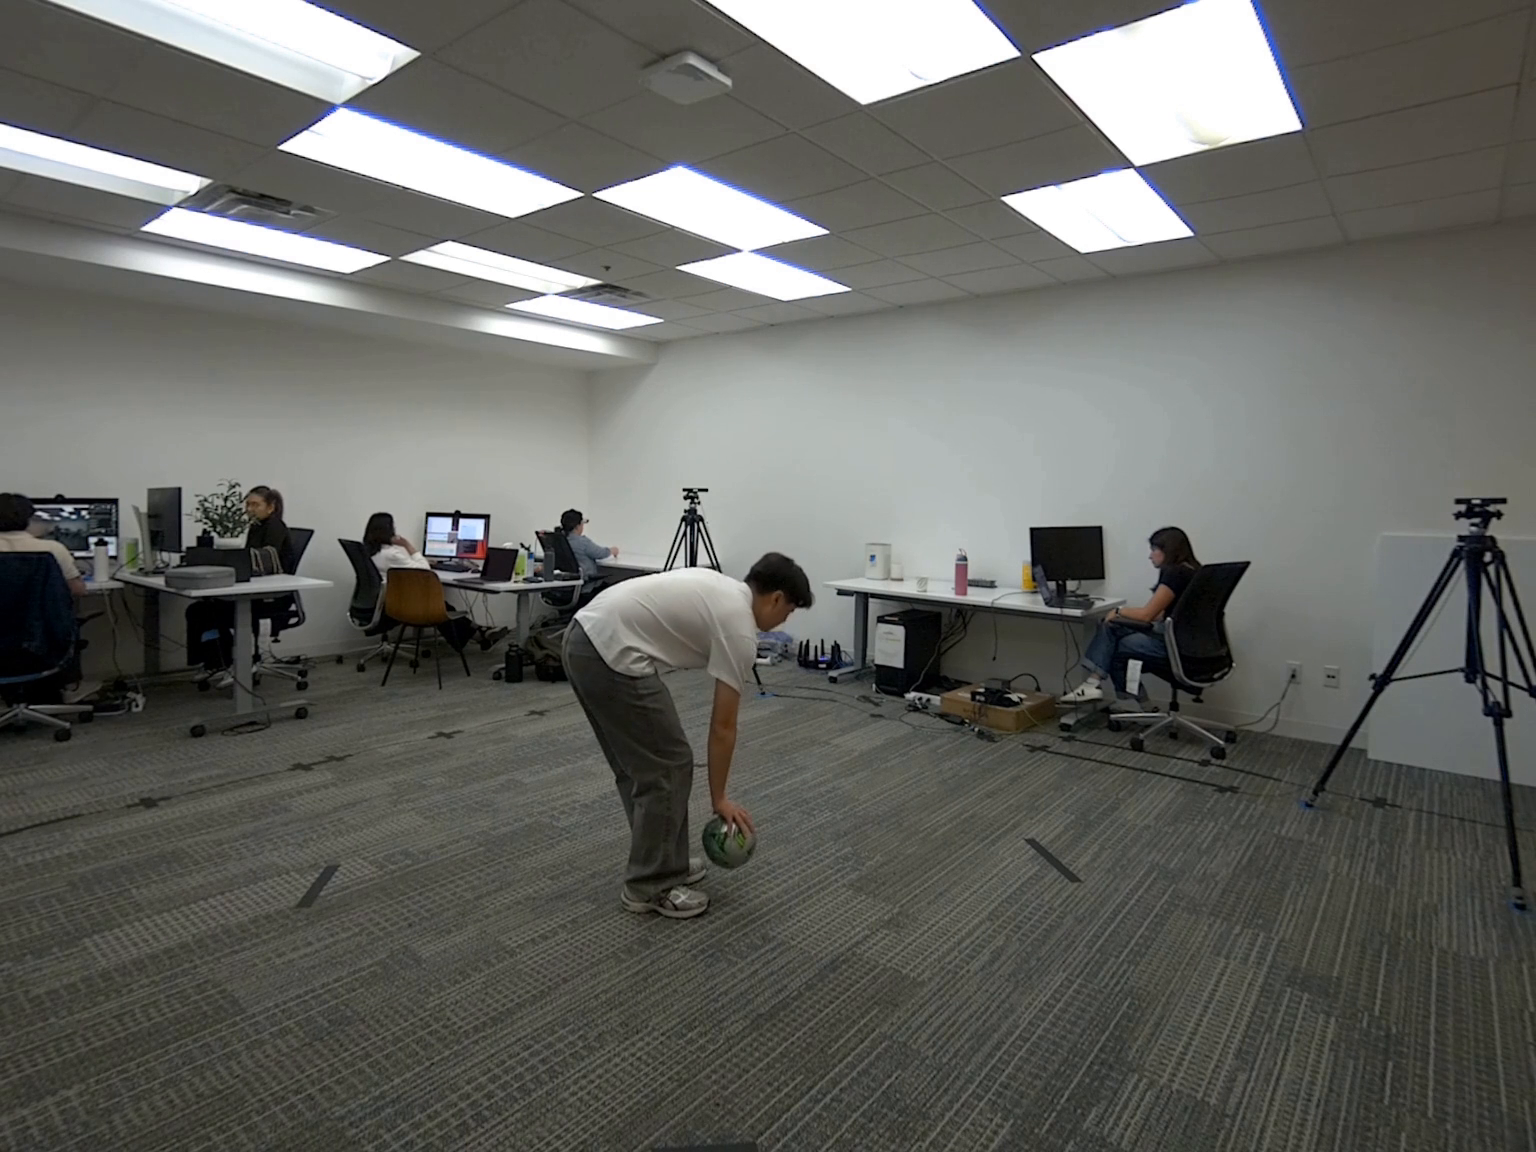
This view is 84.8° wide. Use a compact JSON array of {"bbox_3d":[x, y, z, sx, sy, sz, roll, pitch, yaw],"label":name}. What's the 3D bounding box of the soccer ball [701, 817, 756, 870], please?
[{"bbox_3d":[-0.134,0.883,2.895,0.187,0.187,0.188,1,4,-2],"label":"soccer ball"}]
